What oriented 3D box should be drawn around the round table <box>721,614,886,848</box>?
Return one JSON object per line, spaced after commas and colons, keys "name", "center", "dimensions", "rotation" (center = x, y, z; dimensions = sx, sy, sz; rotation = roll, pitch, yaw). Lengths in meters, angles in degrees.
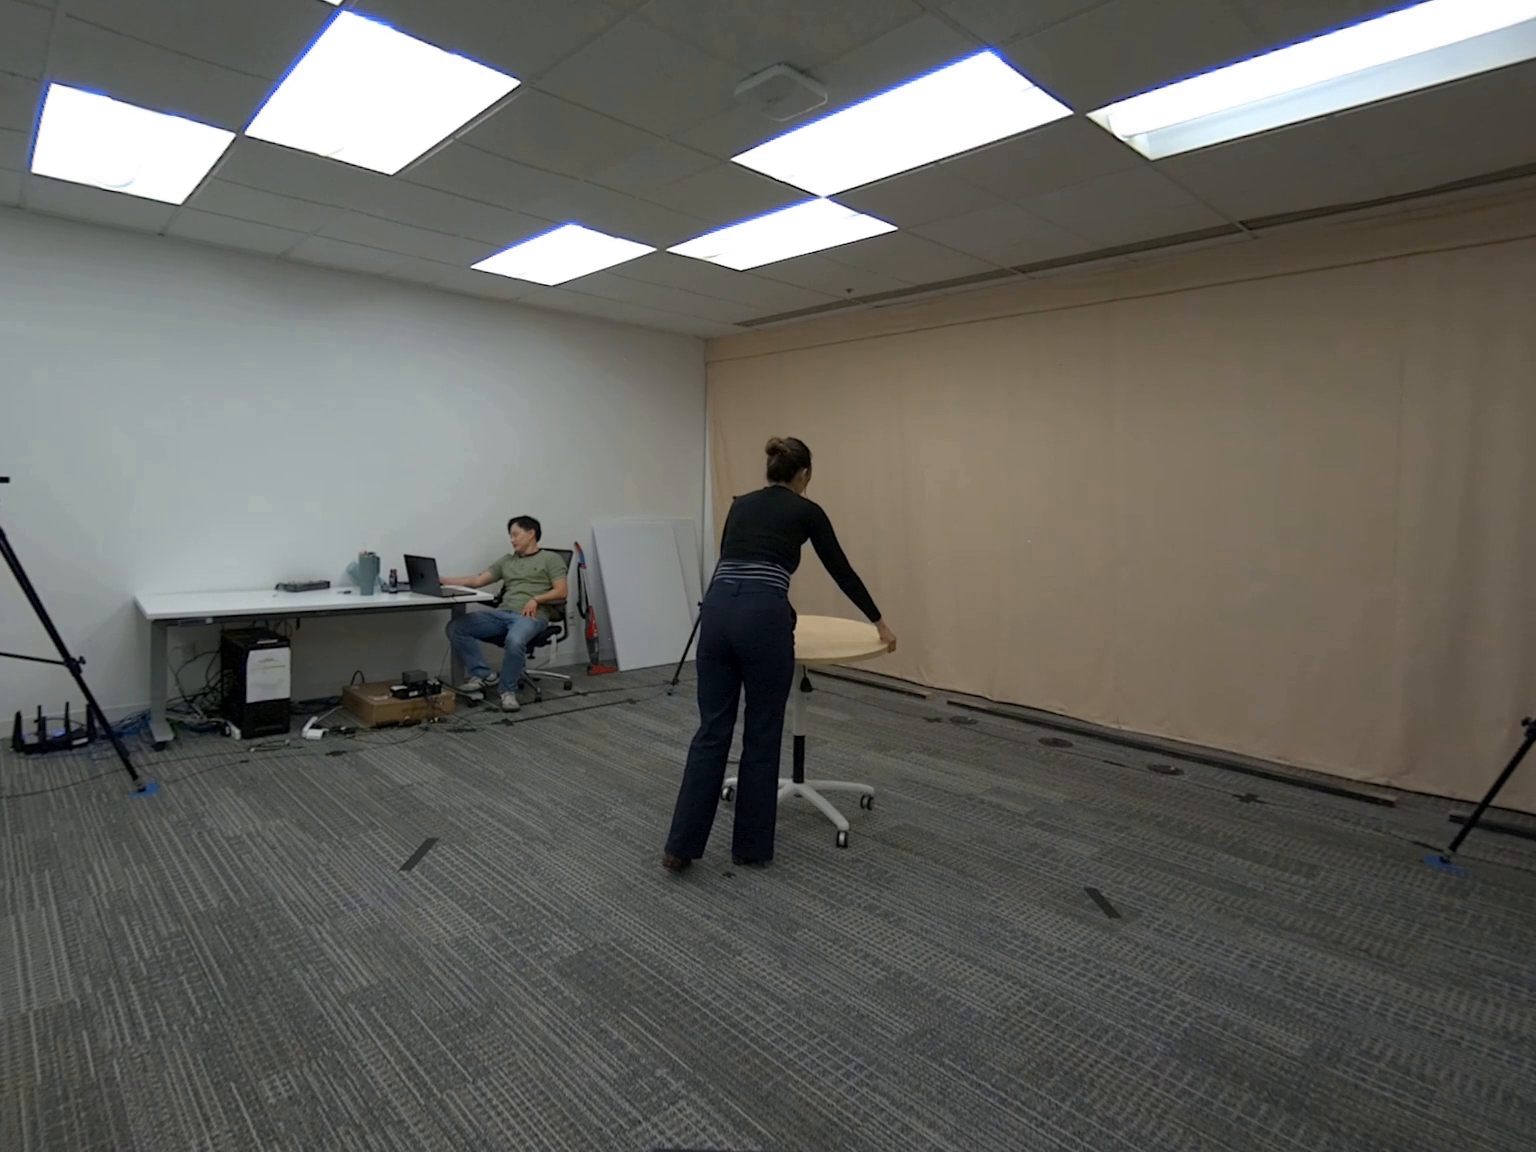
{"name": "round table", "center": [0.126, 0.650, 3.641], "dimensions": [0.763, 0.790, 0.769], "rotation": [1, 8, -1]}
